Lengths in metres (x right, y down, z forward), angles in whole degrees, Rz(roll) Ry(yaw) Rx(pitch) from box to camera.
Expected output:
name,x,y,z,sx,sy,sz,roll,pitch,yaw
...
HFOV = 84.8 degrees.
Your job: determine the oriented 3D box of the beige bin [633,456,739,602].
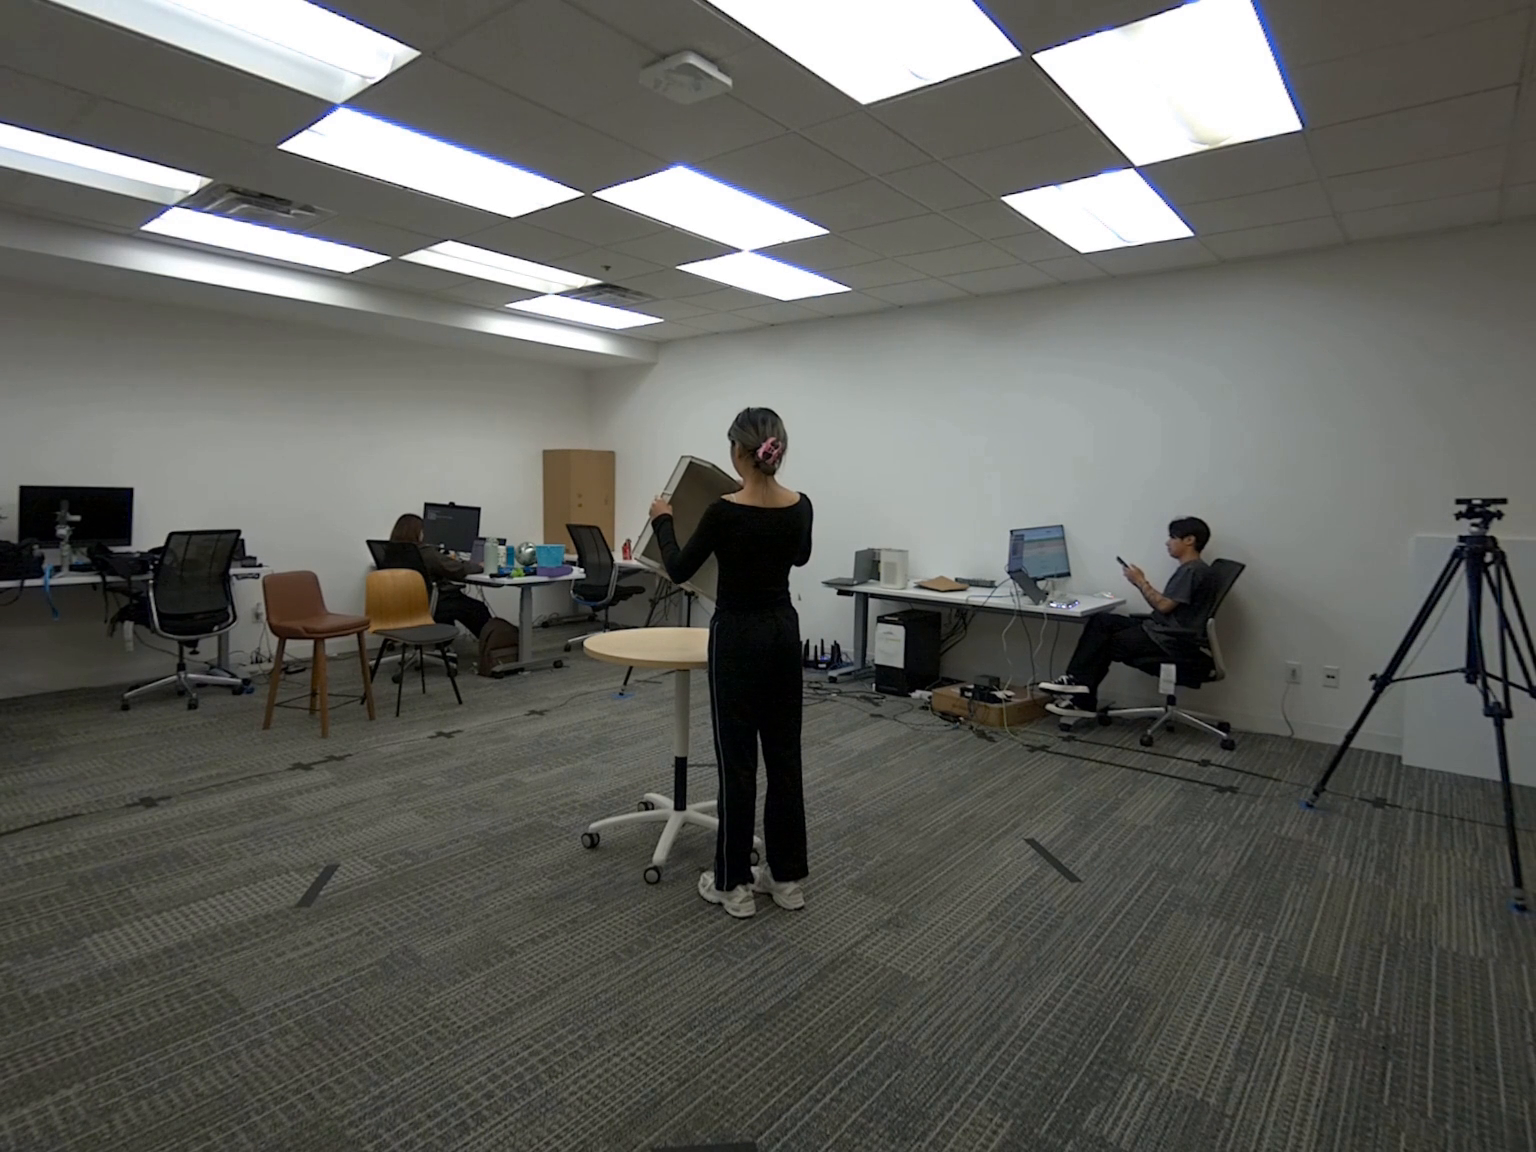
name,x,y,z,sx,sy,sz,roll,pitch,yaw
beige bin,-0.262,-0.172,3.116,0.196,0.424,0.362,17,-12,46
